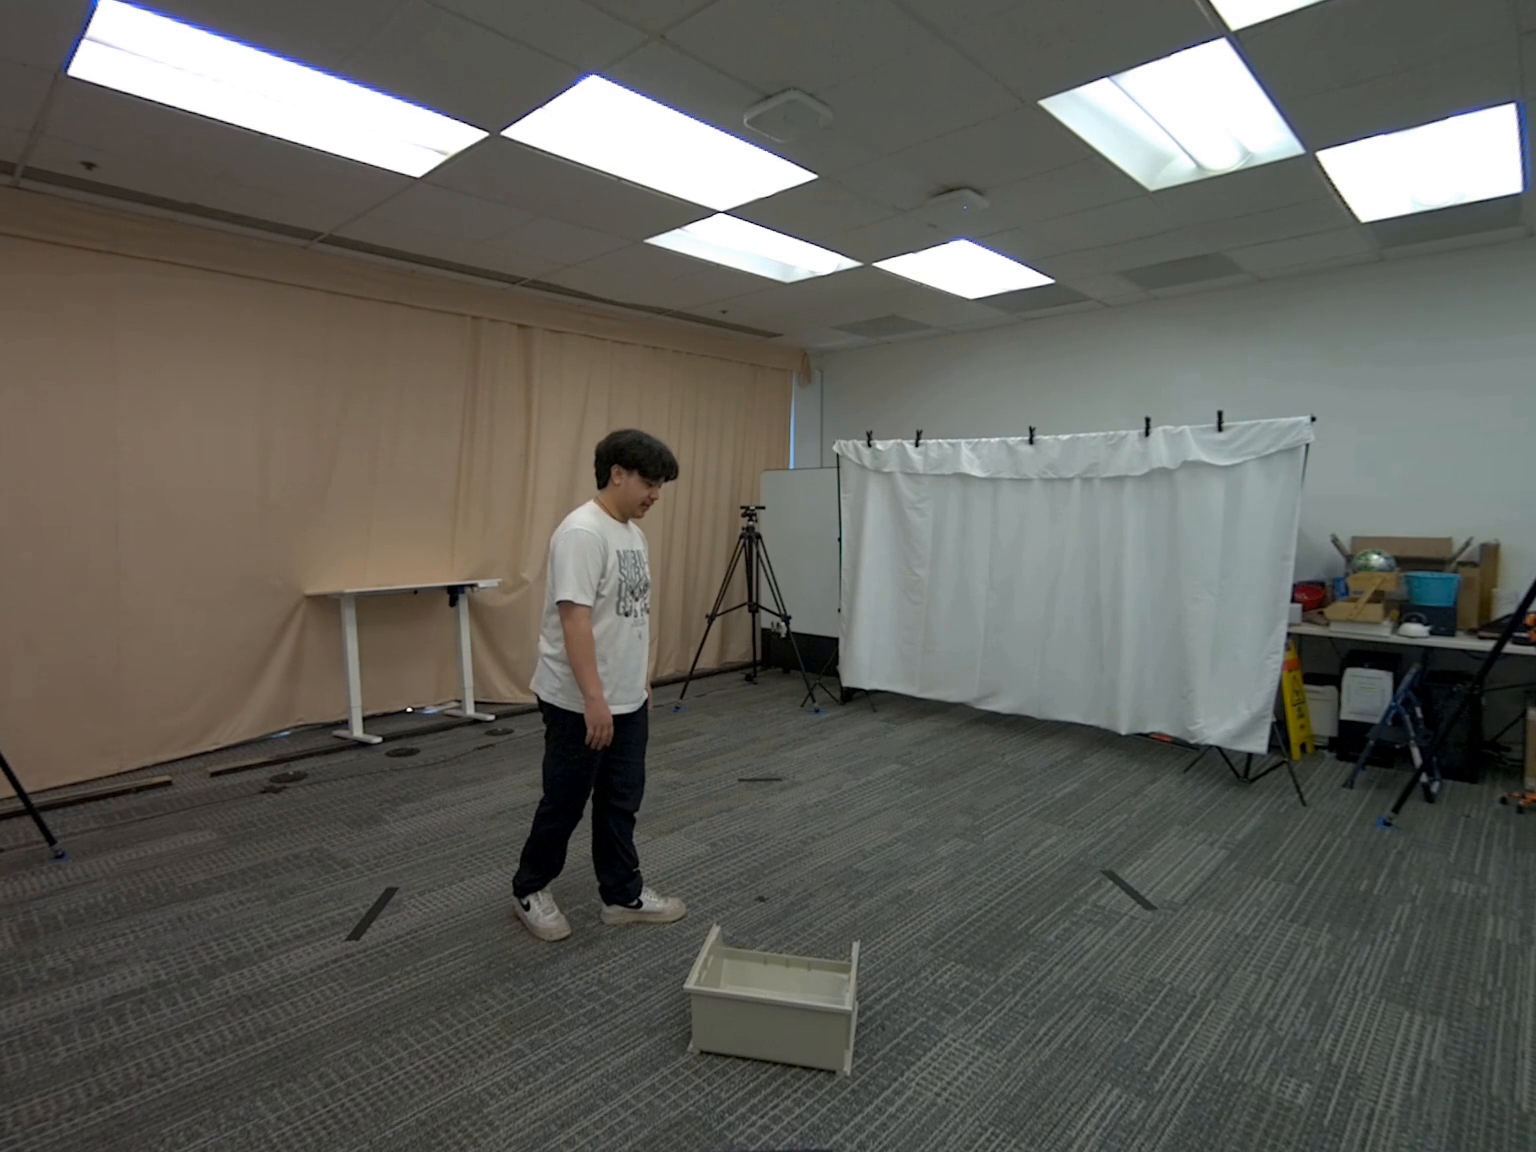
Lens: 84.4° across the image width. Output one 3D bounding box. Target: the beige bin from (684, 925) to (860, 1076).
[{"bbox_3d":[0.028,1.118,2.260,0.428,0.188,0.374,1,5,11],"label":"beige bin"}]
